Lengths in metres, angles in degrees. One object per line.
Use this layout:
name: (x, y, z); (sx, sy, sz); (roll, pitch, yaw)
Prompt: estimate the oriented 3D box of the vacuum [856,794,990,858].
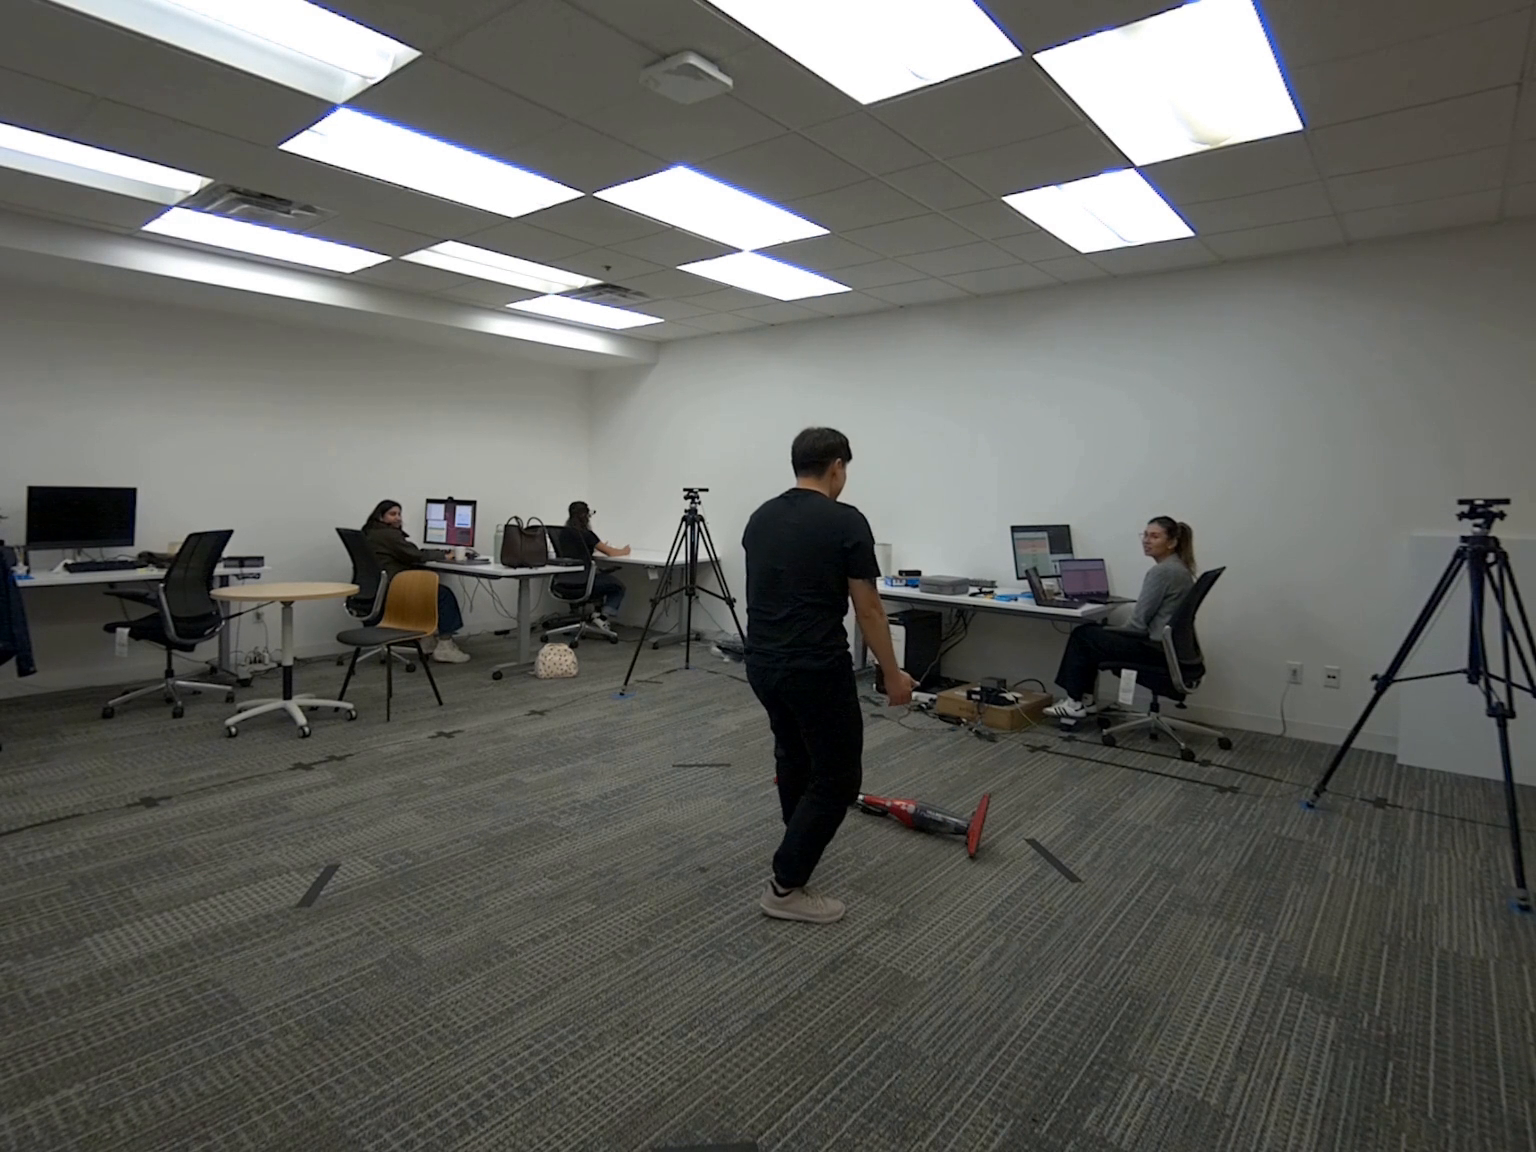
vacuum: (0.428, 0.973, 3.690); (1.083, 0.255, 0.138); (1, -32, 43)
